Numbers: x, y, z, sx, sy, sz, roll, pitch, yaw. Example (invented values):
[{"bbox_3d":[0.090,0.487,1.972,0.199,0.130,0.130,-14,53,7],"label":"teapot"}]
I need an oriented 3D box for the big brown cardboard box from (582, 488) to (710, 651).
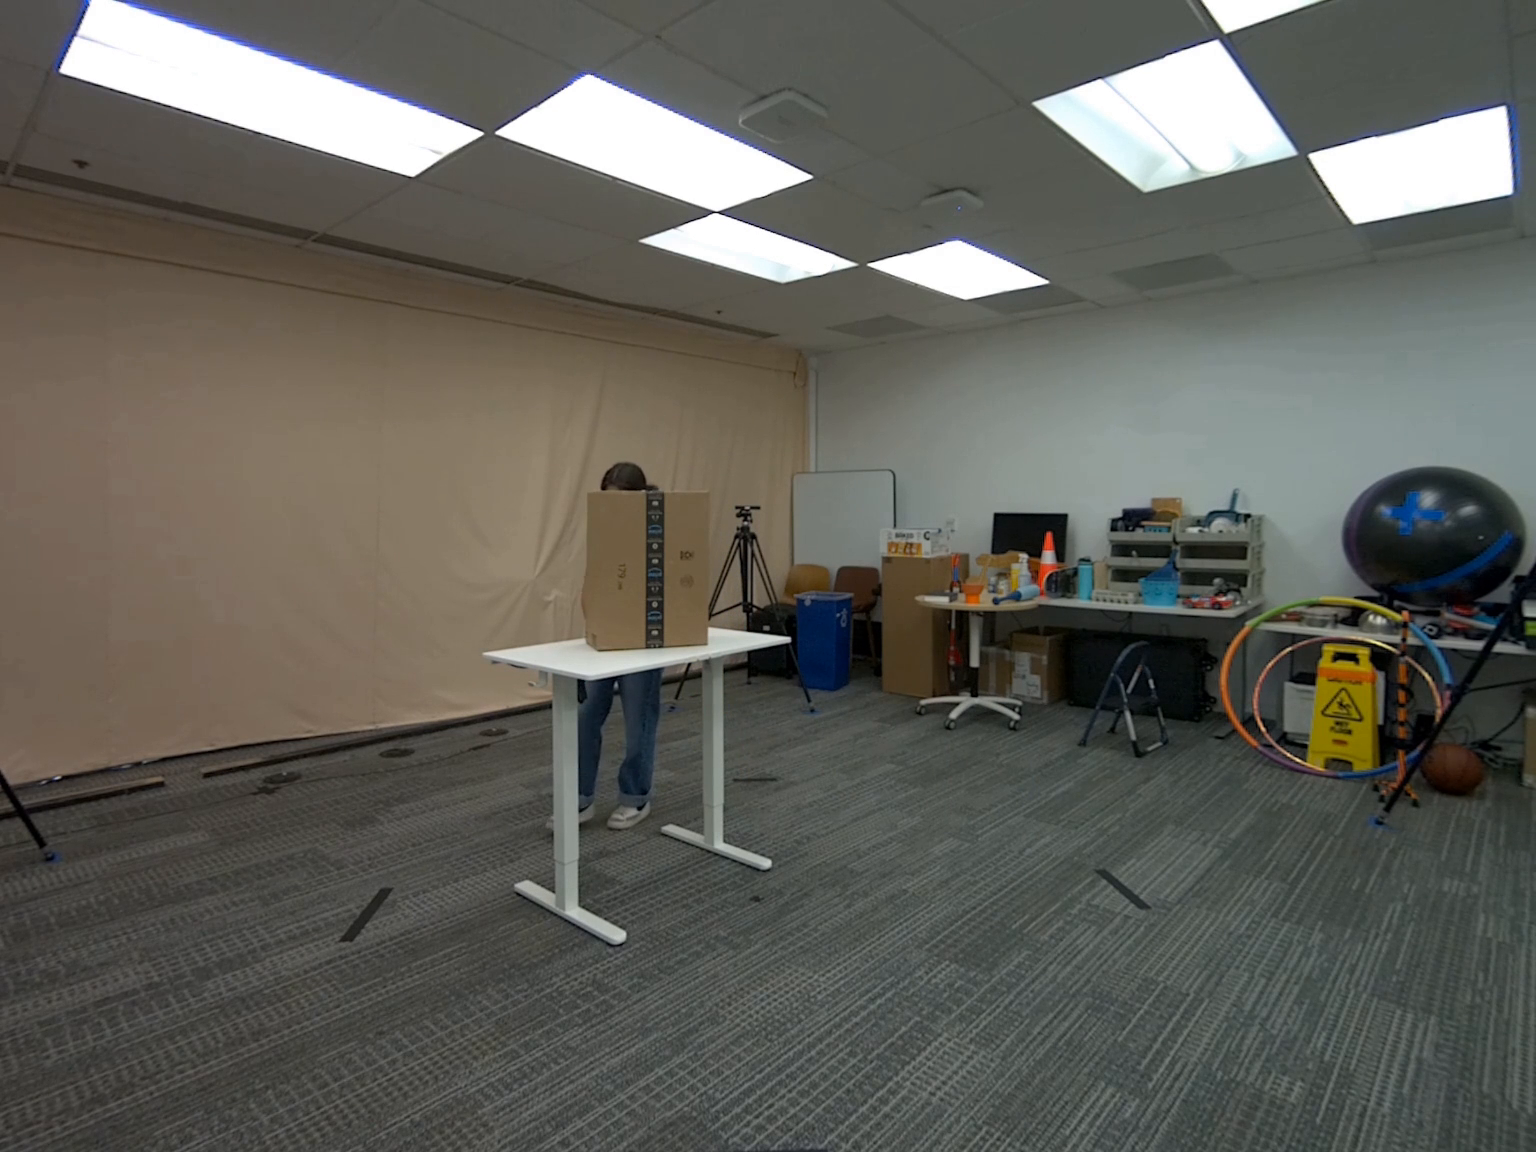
[{"bbox_3d":[-0.442,-0.025,3.120,0.409,0.588,0.238,0,3,-20],"label":"big brown cardboard box"}]
